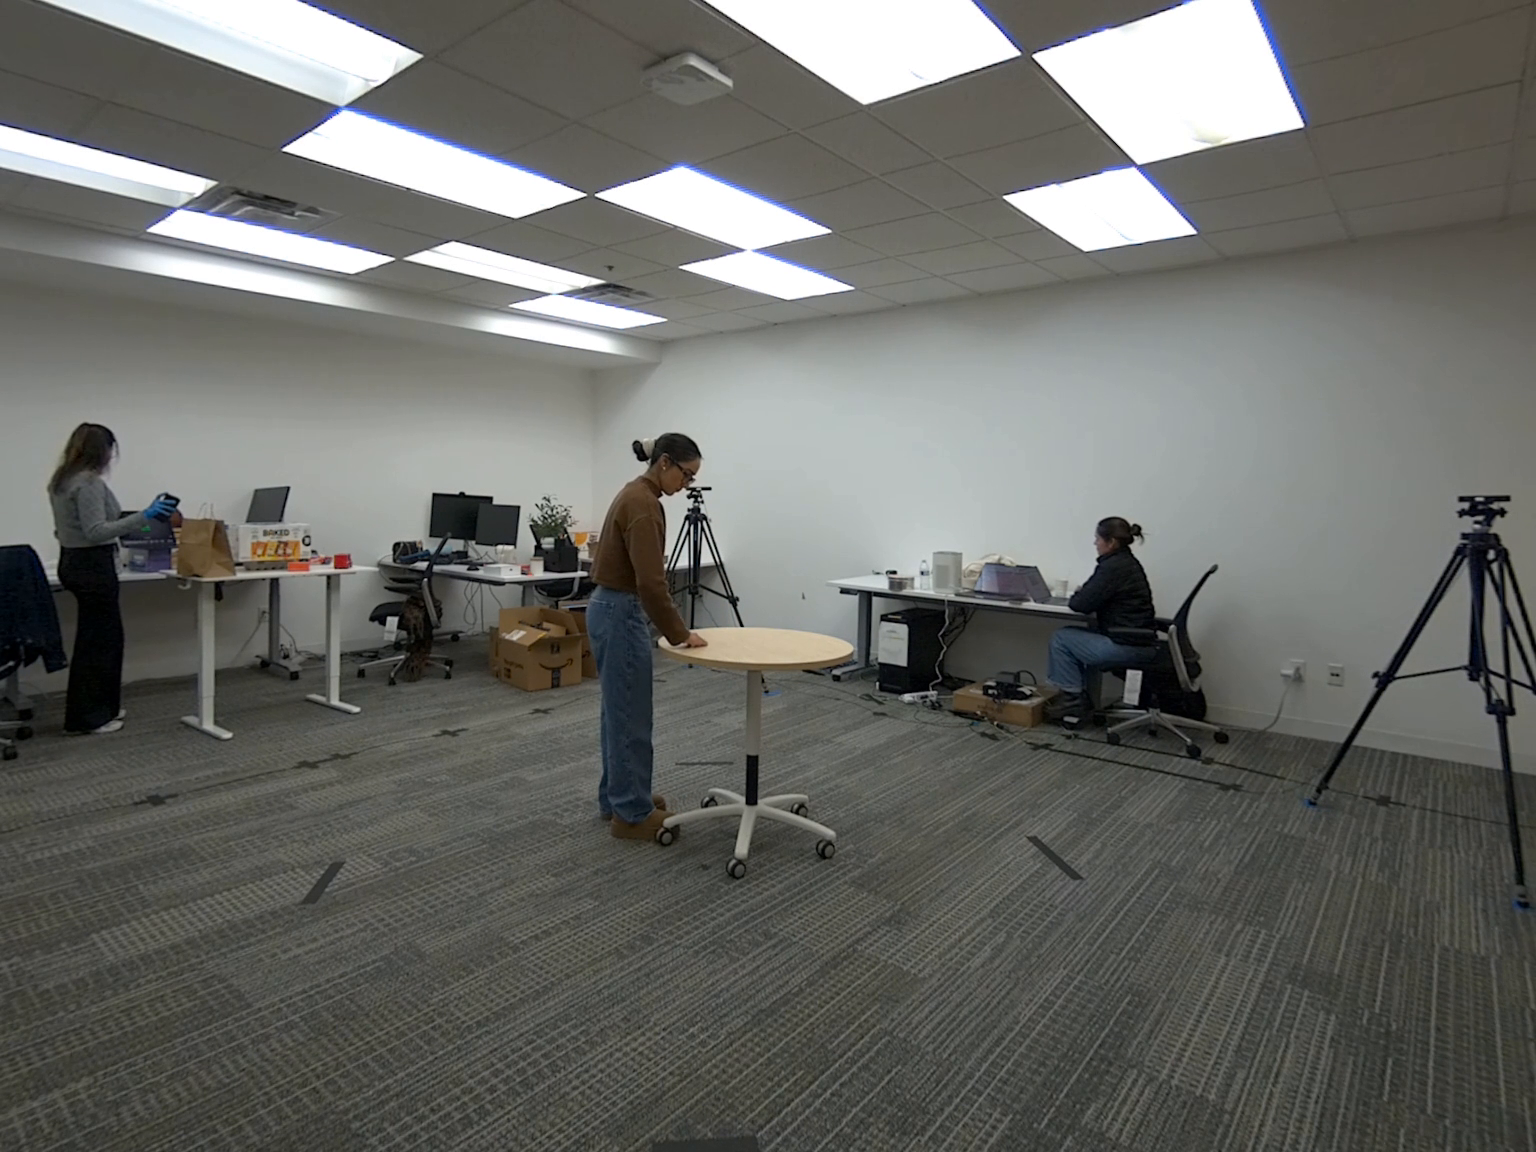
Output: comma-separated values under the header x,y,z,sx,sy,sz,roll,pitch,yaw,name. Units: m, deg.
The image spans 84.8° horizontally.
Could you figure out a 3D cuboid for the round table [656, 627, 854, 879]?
x,y,z,sx,sy,sz,roll,pitch,yaw,name
-0.067,0.656,3.366,0.763,0.791,0.768,1,4,-2,round table
